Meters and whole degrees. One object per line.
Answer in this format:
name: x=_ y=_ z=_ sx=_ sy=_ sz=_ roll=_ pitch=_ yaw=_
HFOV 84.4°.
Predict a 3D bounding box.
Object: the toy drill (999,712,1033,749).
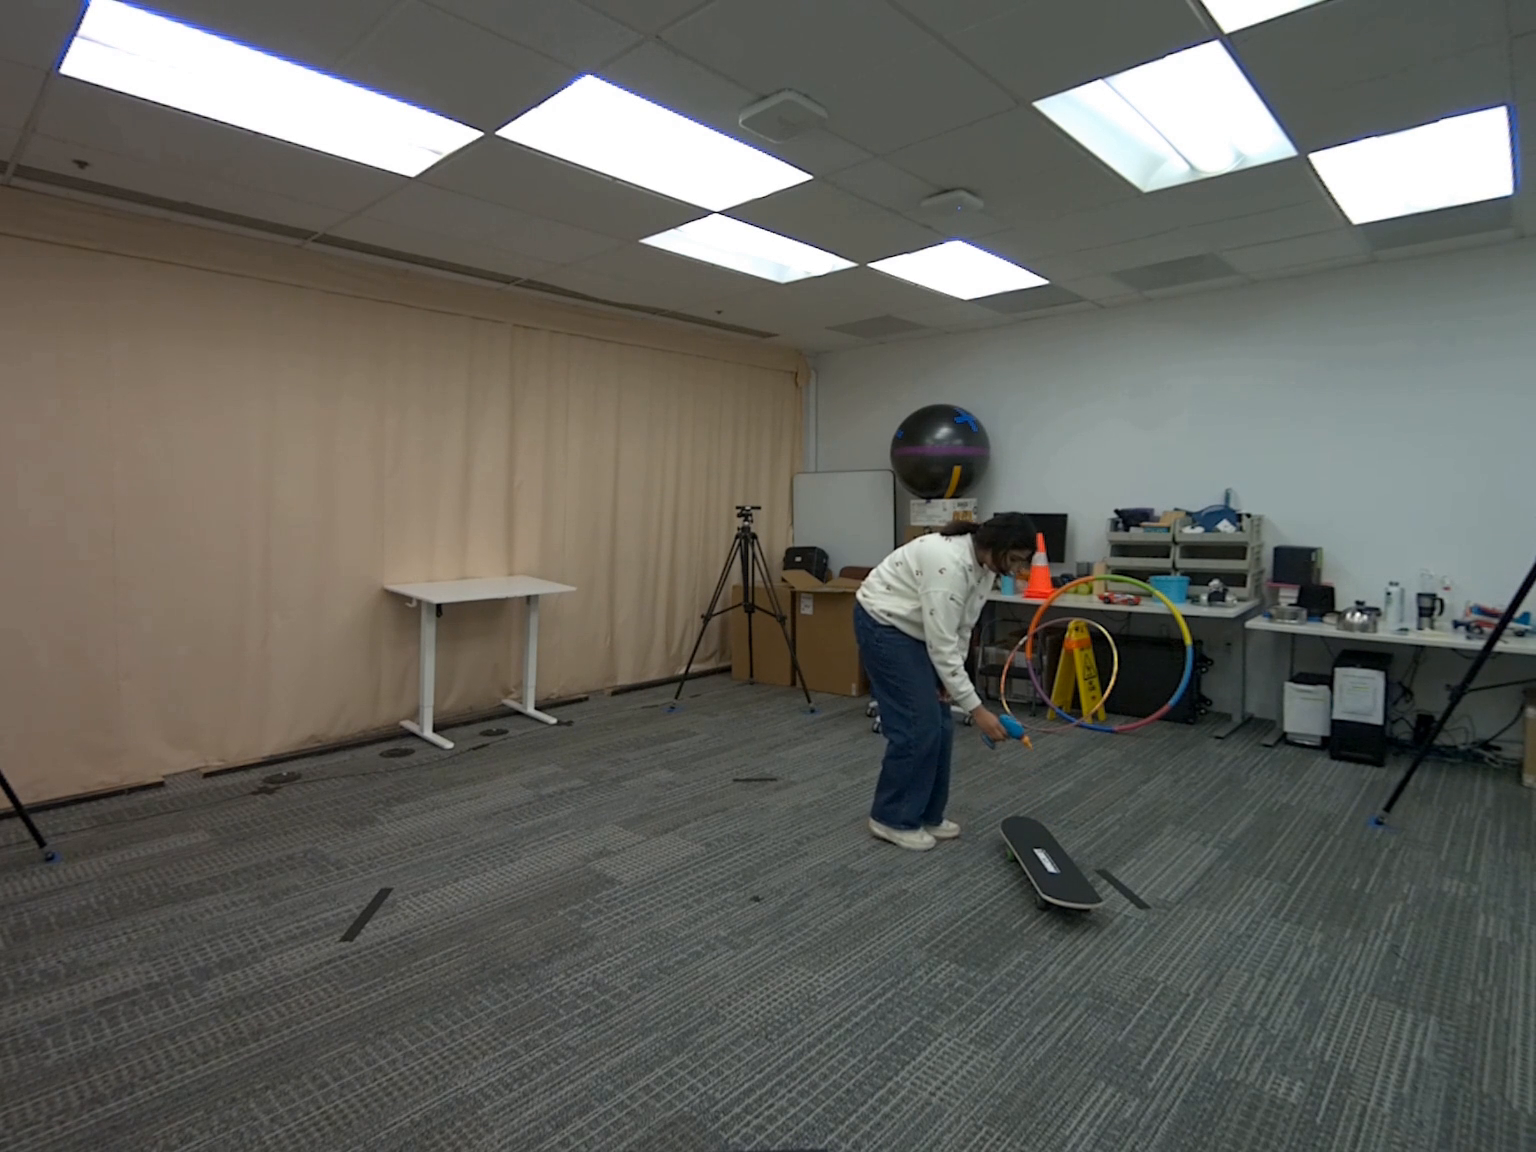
toy drill: x=0.917 y=0.618 z=3.195 sx=0.147 sy=0.171 sz=0.060 roll=-44 pitch=-5 yaw=21
